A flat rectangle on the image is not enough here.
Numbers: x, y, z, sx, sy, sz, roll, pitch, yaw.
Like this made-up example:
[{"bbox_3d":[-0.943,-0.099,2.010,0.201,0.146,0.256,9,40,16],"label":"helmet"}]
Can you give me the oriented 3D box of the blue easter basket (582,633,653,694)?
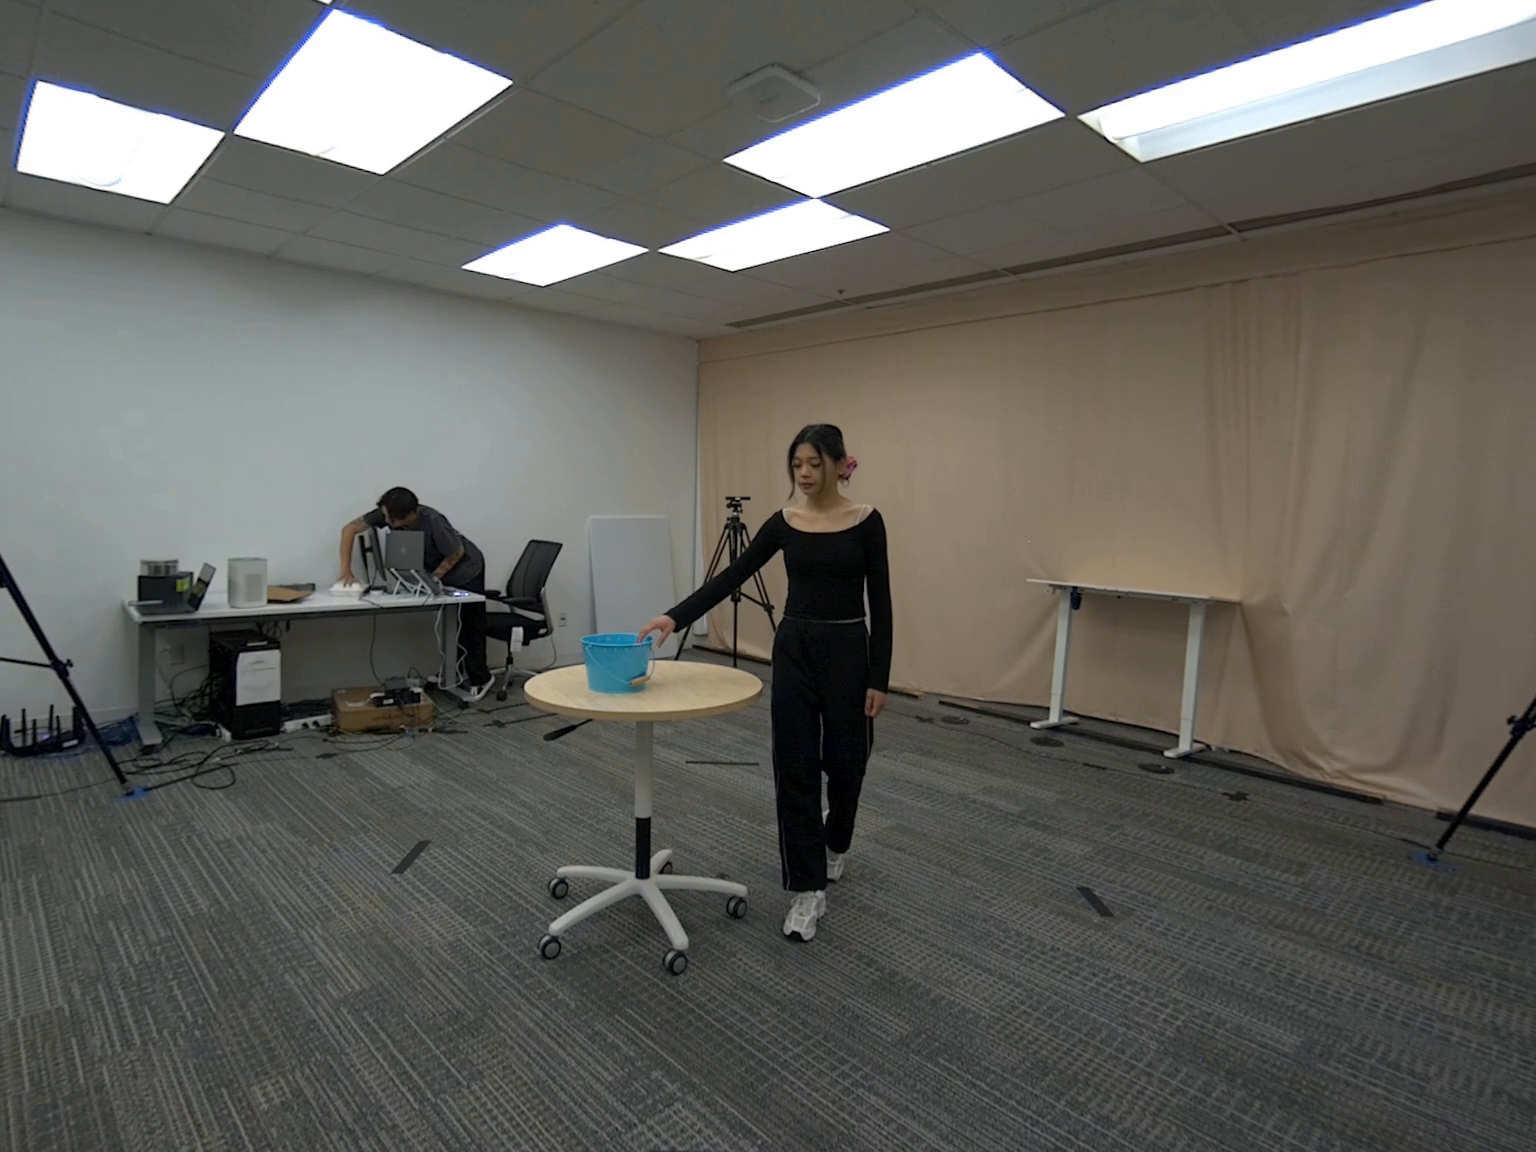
[{"bbox_3d":[-0.488,0.285,2.654,0.243,0.155,0.244,1,5,-1],"label":"blue easter basket"}]
